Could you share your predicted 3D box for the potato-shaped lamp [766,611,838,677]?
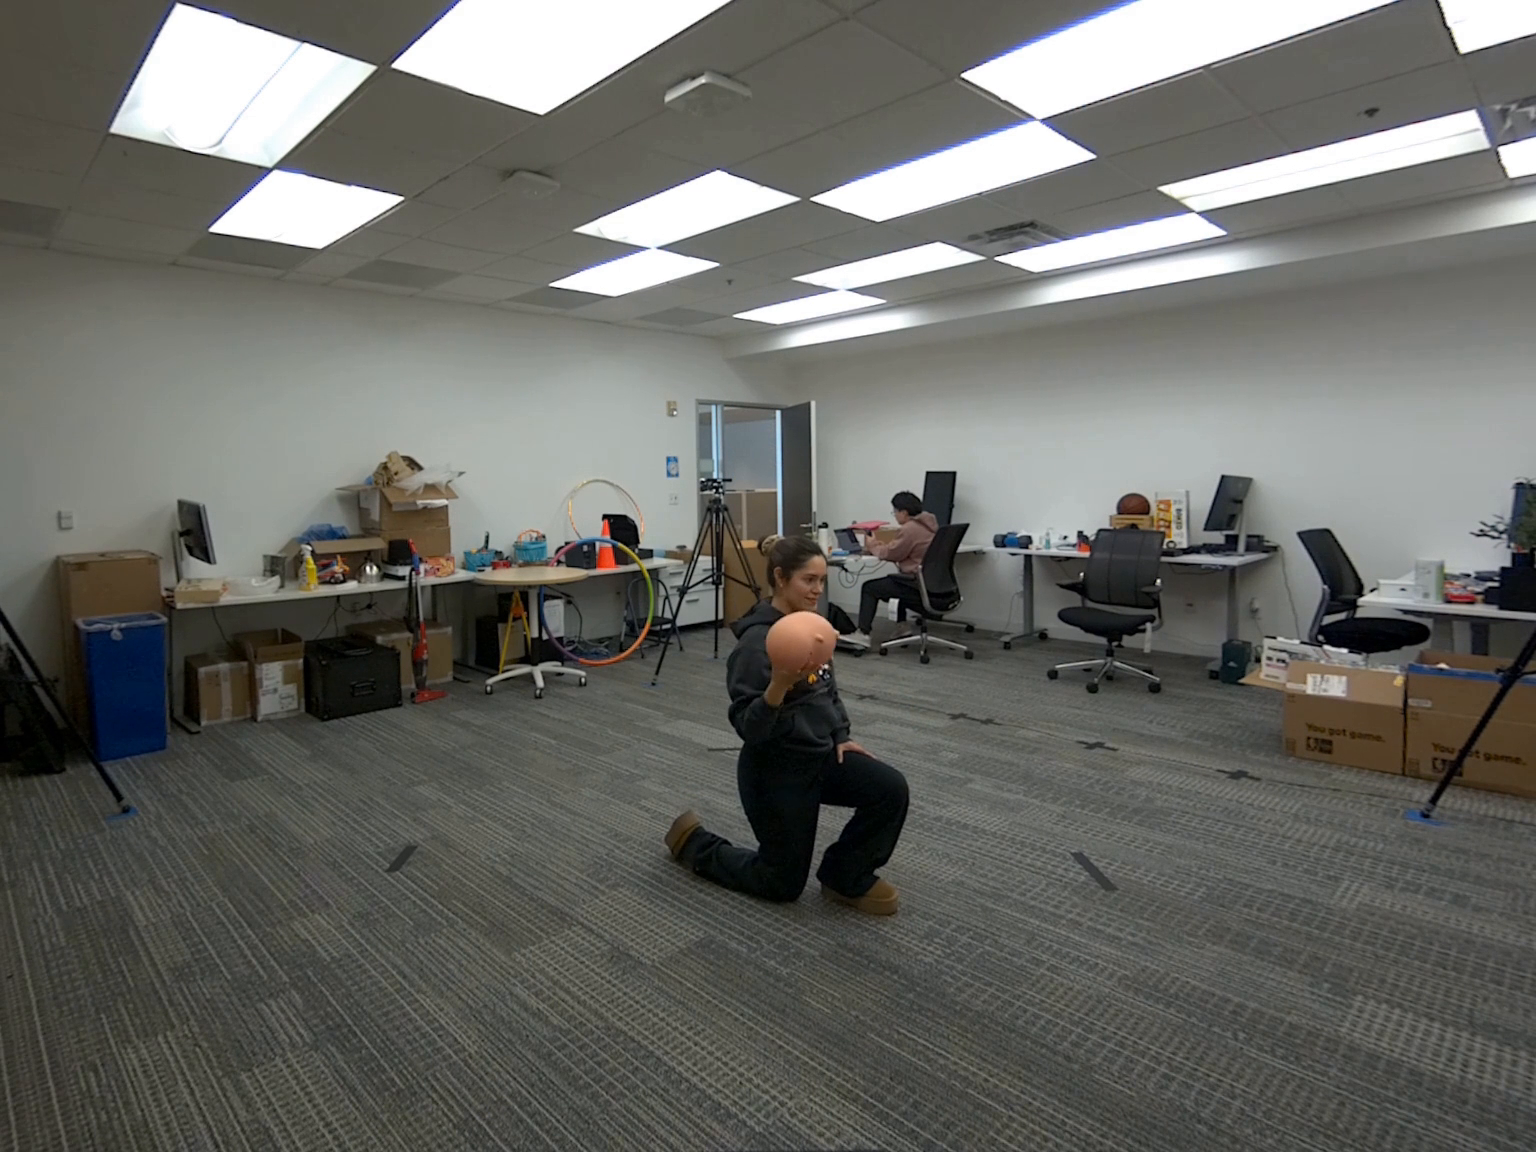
[{"bbox_3d":[0.088,0.189,2.382,0.175,0.163,0.195,34,24,16],"label":"potato-shaped lamp"}]
